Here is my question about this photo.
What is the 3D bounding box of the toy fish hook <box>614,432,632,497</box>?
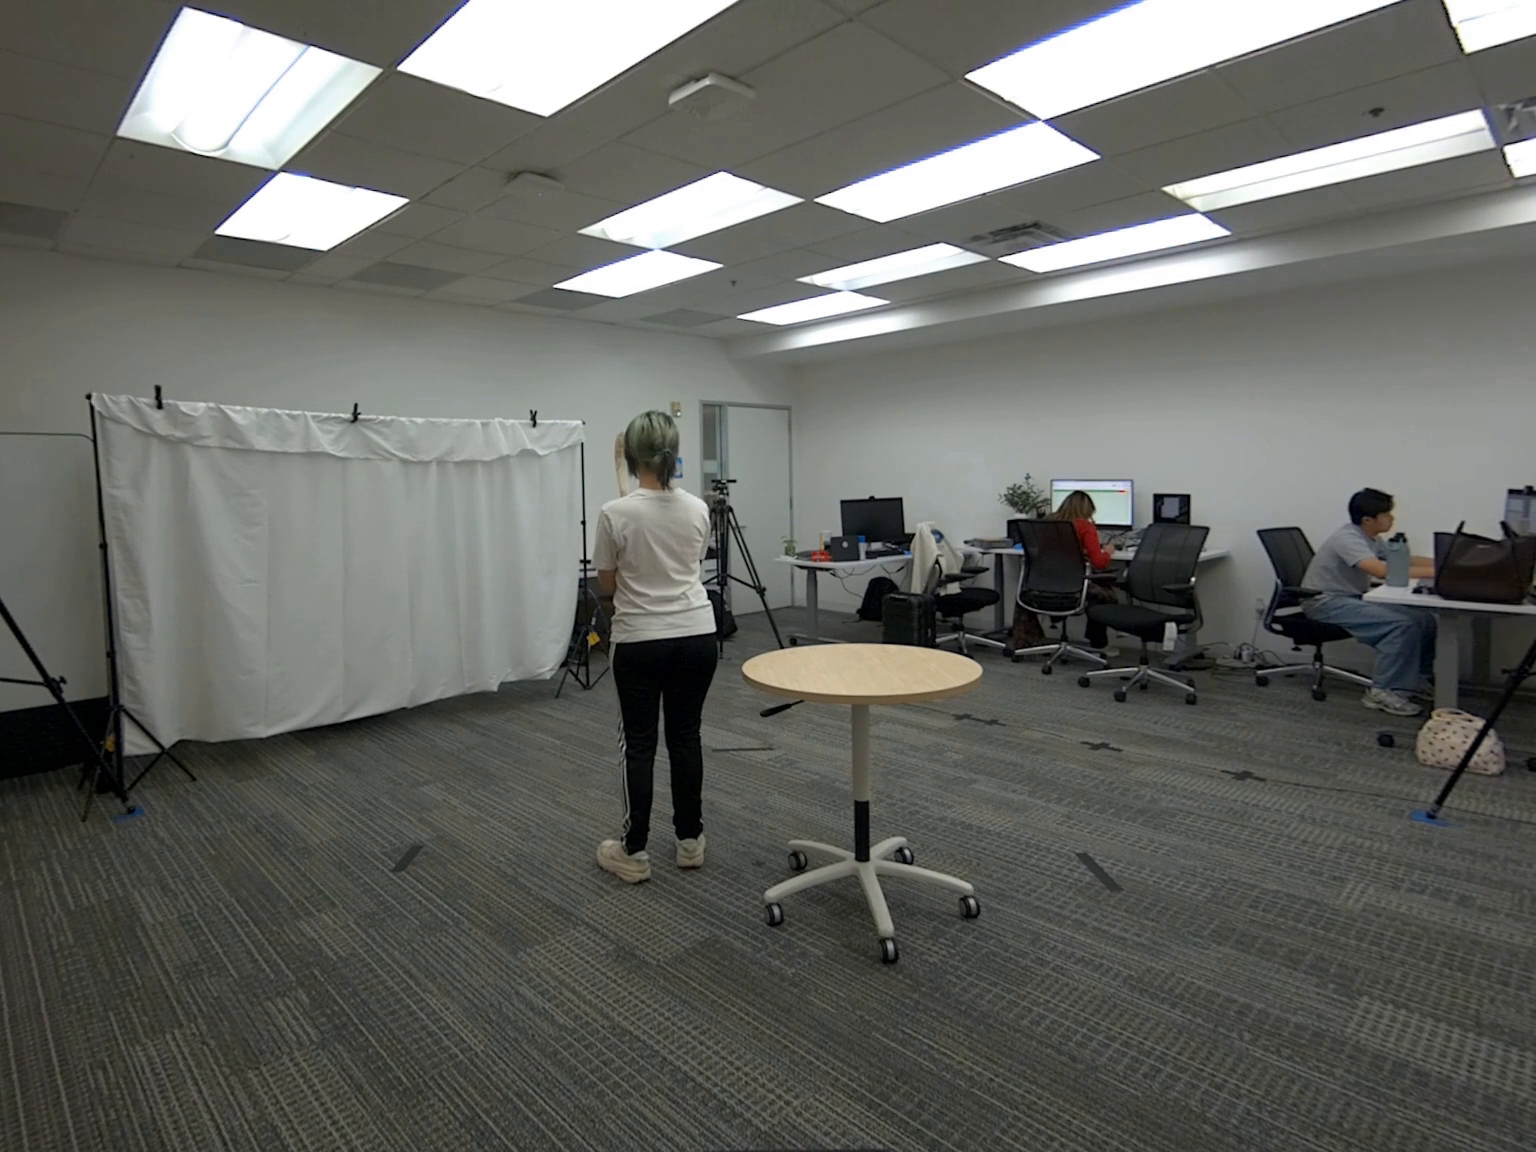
[{"bbox_3d":[-0.532,-0.315,3.299,0.047,0.507,0.228,-7,-1,-24],"label":"toy fish hook"}]
